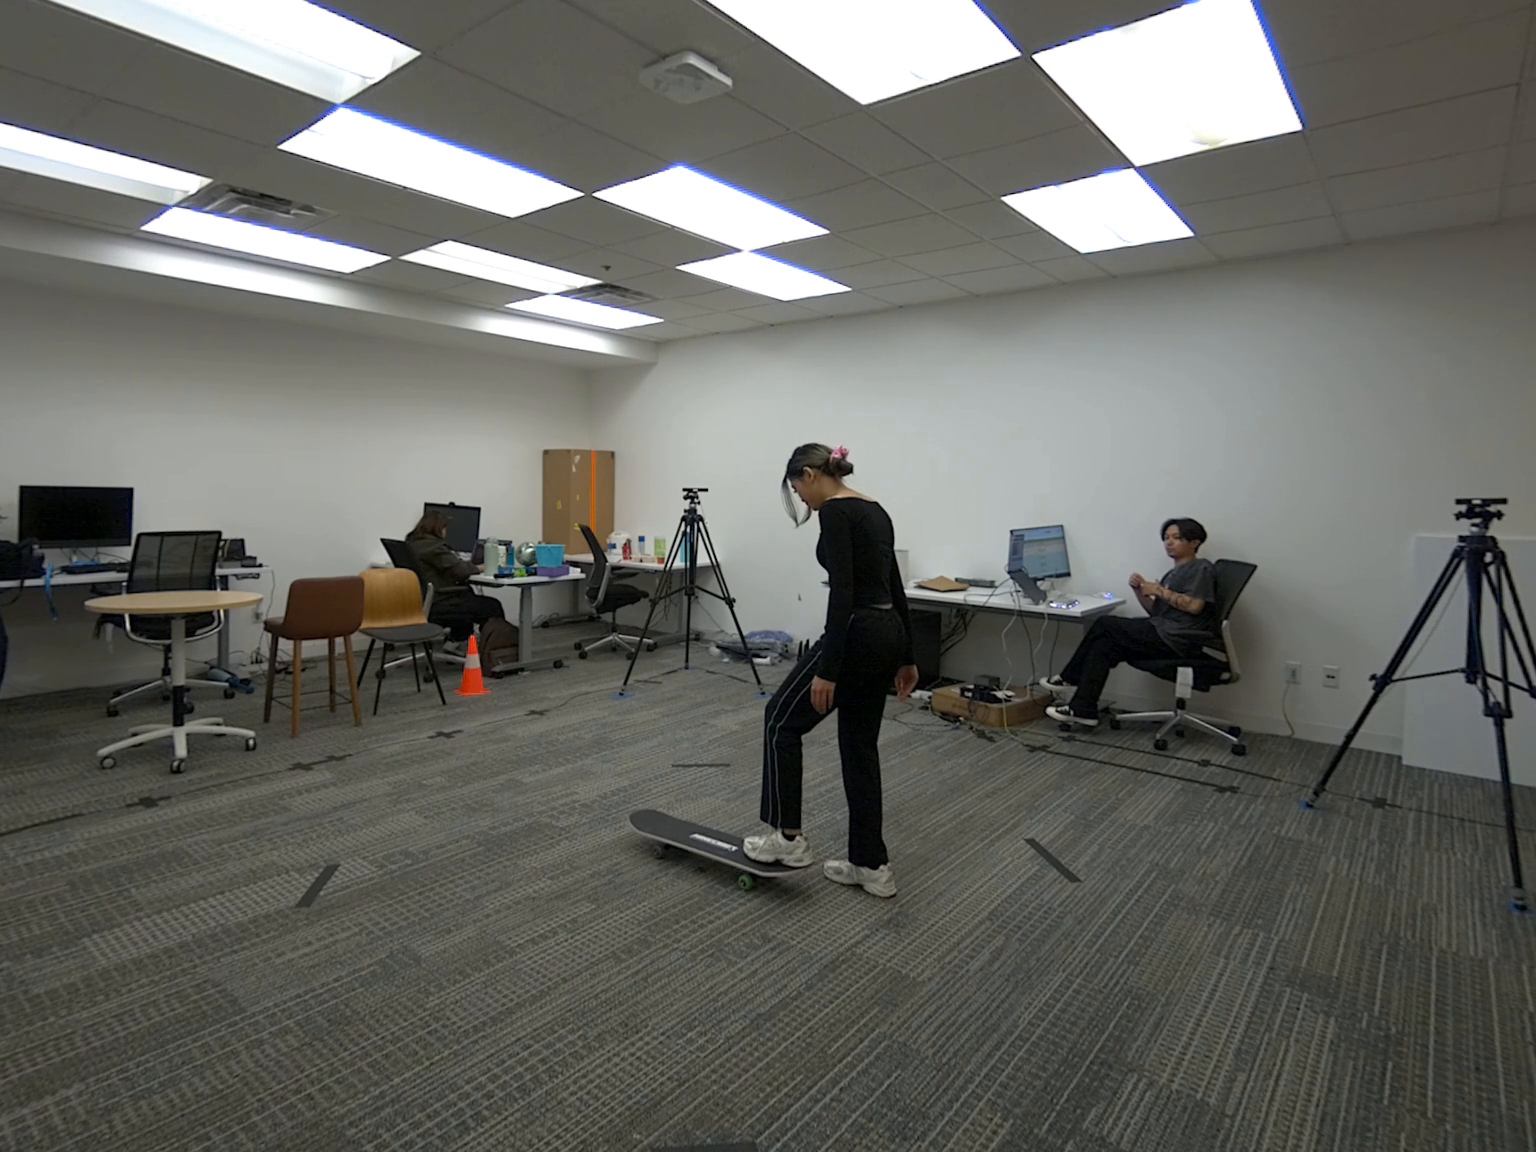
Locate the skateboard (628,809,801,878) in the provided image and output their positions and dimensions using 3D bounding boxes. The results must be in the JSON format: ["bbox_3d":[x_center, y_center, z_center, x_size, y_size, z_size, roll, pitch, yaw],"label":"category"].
[{"bbox_3d":[-0.213,1.012,3.134,0.811,0.110,0.188,5,6,35],"label":"skateboard"}]
